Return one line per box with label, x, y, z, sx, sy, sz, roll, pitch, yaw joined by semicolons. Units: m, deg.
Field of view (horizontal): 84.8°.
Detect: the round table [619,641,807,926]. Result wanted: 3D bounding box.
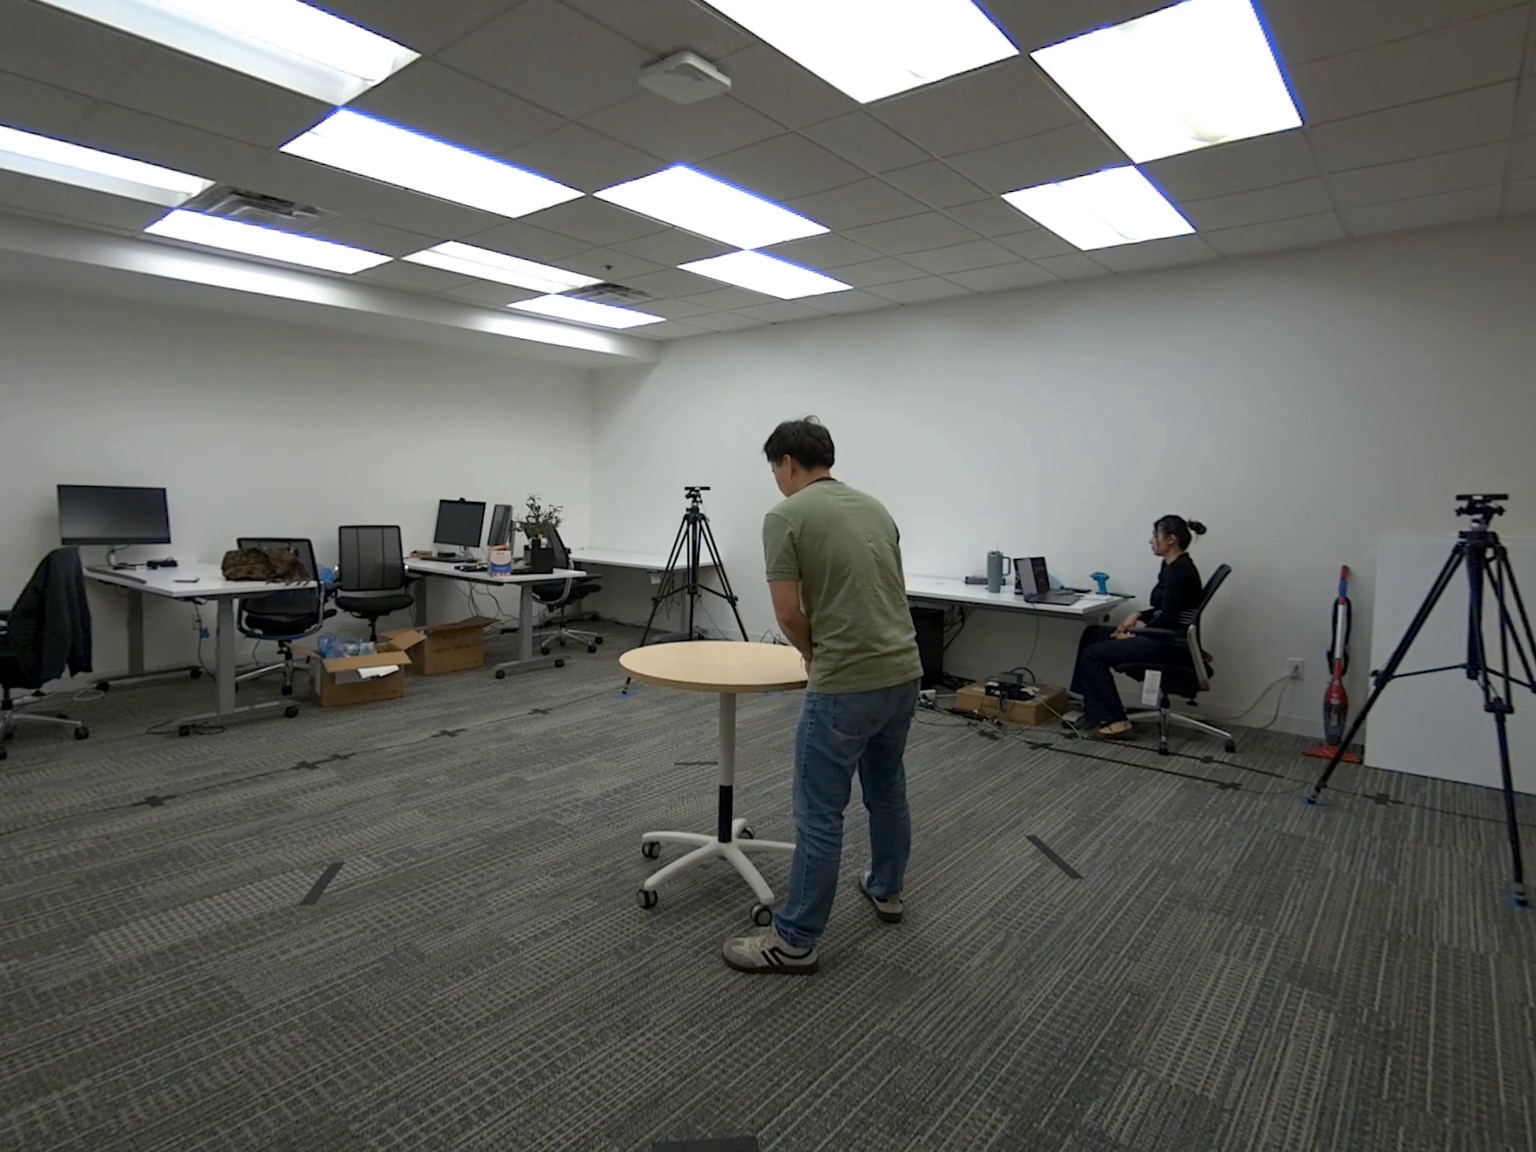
round table;-0.158;0.686;3.005;0.763;0.791;0.768;1;4;-2
